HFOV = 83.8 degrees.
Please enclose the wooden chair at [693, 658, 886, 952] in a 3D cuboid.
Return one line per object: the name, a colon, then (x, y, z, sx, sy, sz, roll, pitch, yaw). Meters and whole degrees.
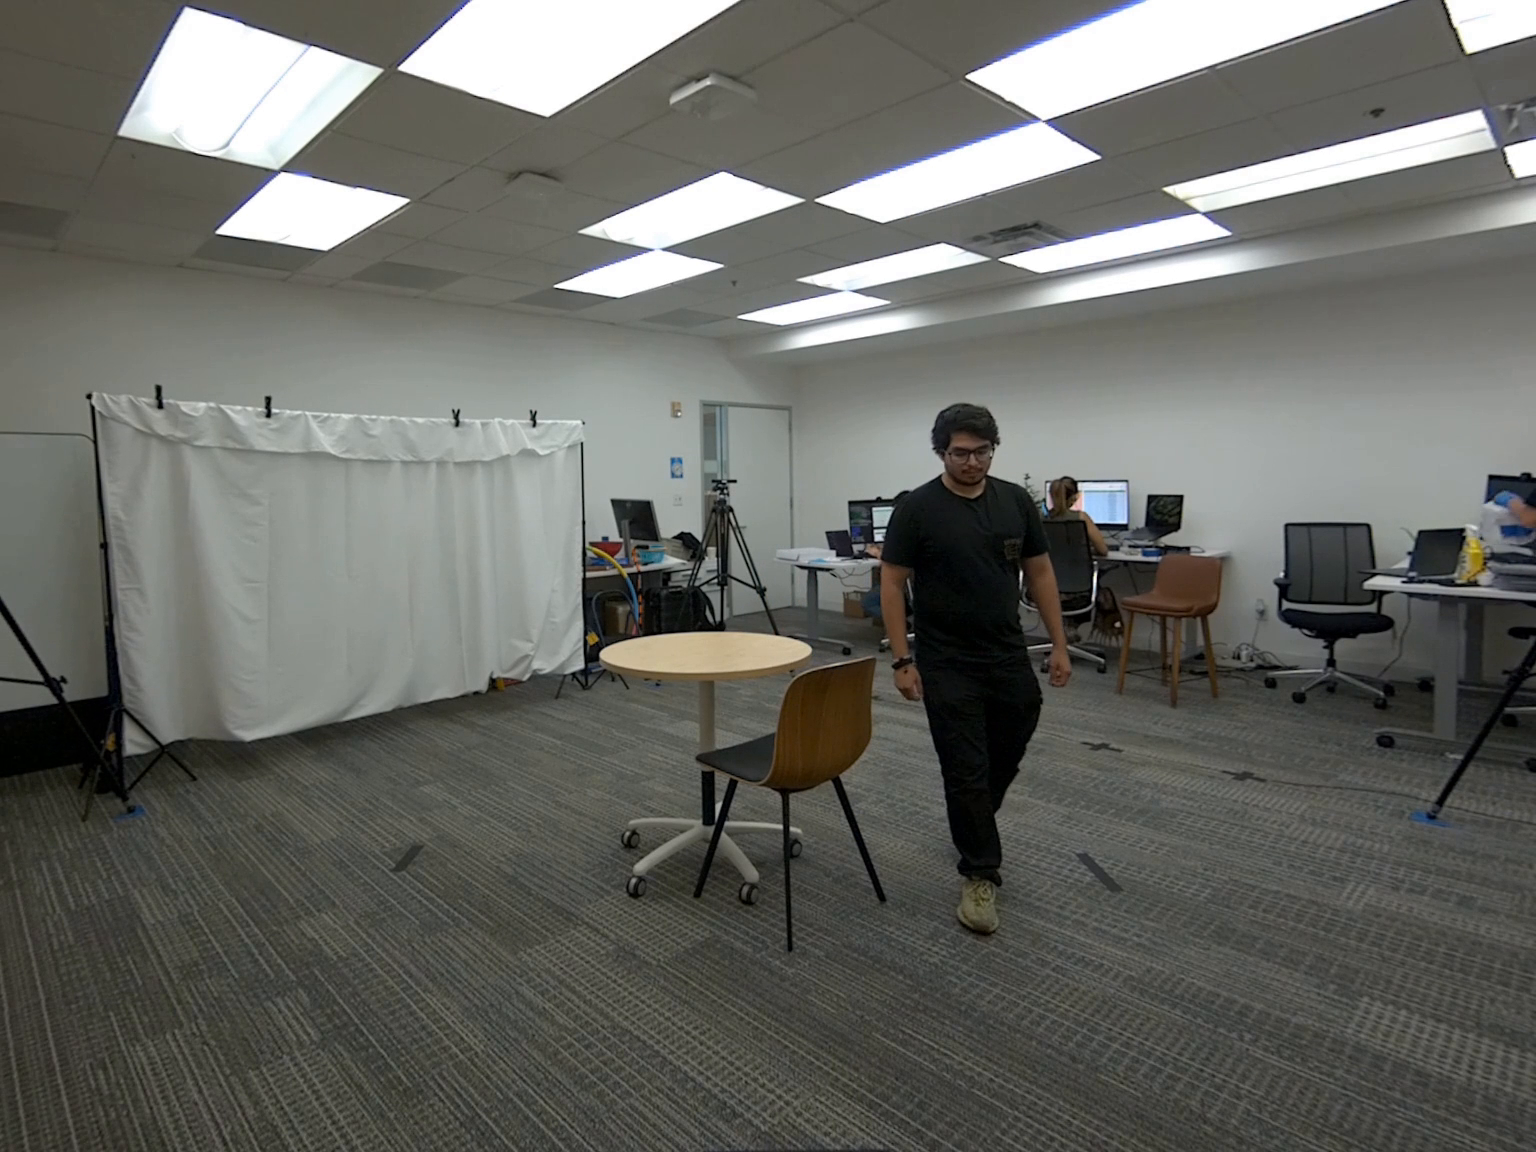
wooden chair: (0.057, 0.647, 2.817, 0.466, 0.871, 0.541, -6, 11, -42)
